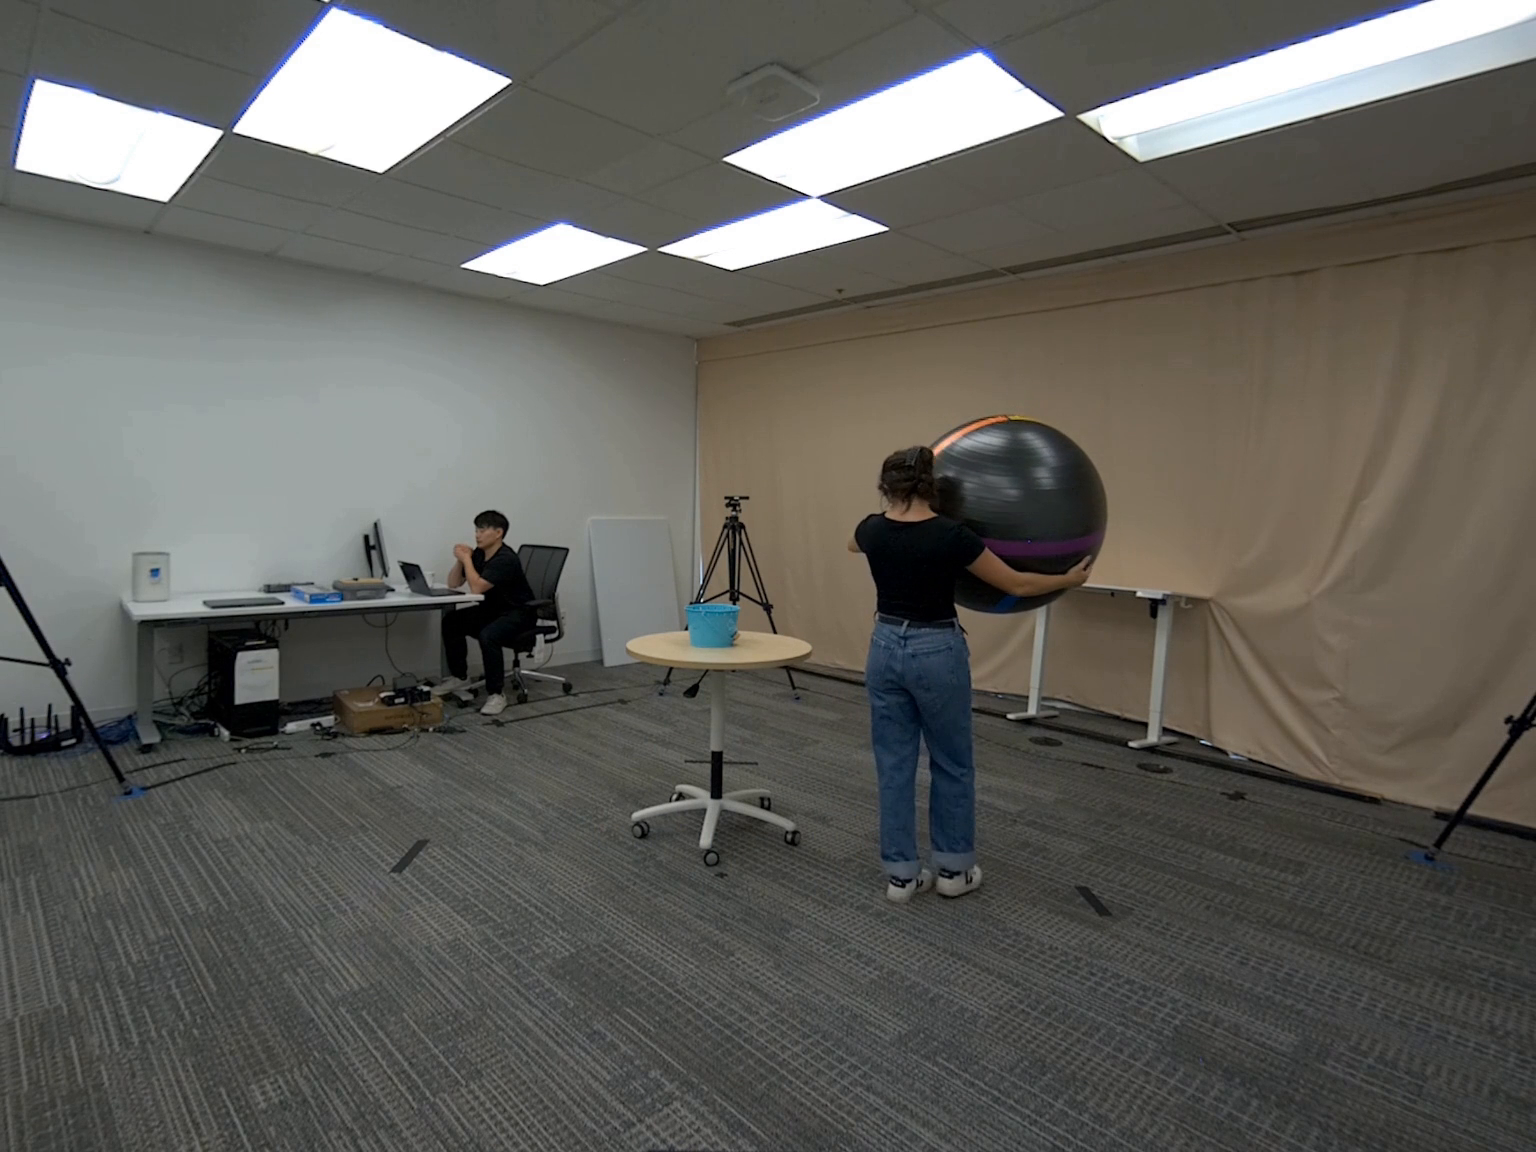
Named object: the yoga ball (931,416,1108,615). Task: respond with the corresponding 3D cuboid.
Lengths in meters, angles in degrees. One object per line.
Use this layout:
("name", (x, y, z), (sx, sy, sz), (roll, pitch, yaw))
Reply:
("yoga ball", (0.892, -0.230, 3.243), (0.757, 0.756, 0.761), (1, 4, -1))
